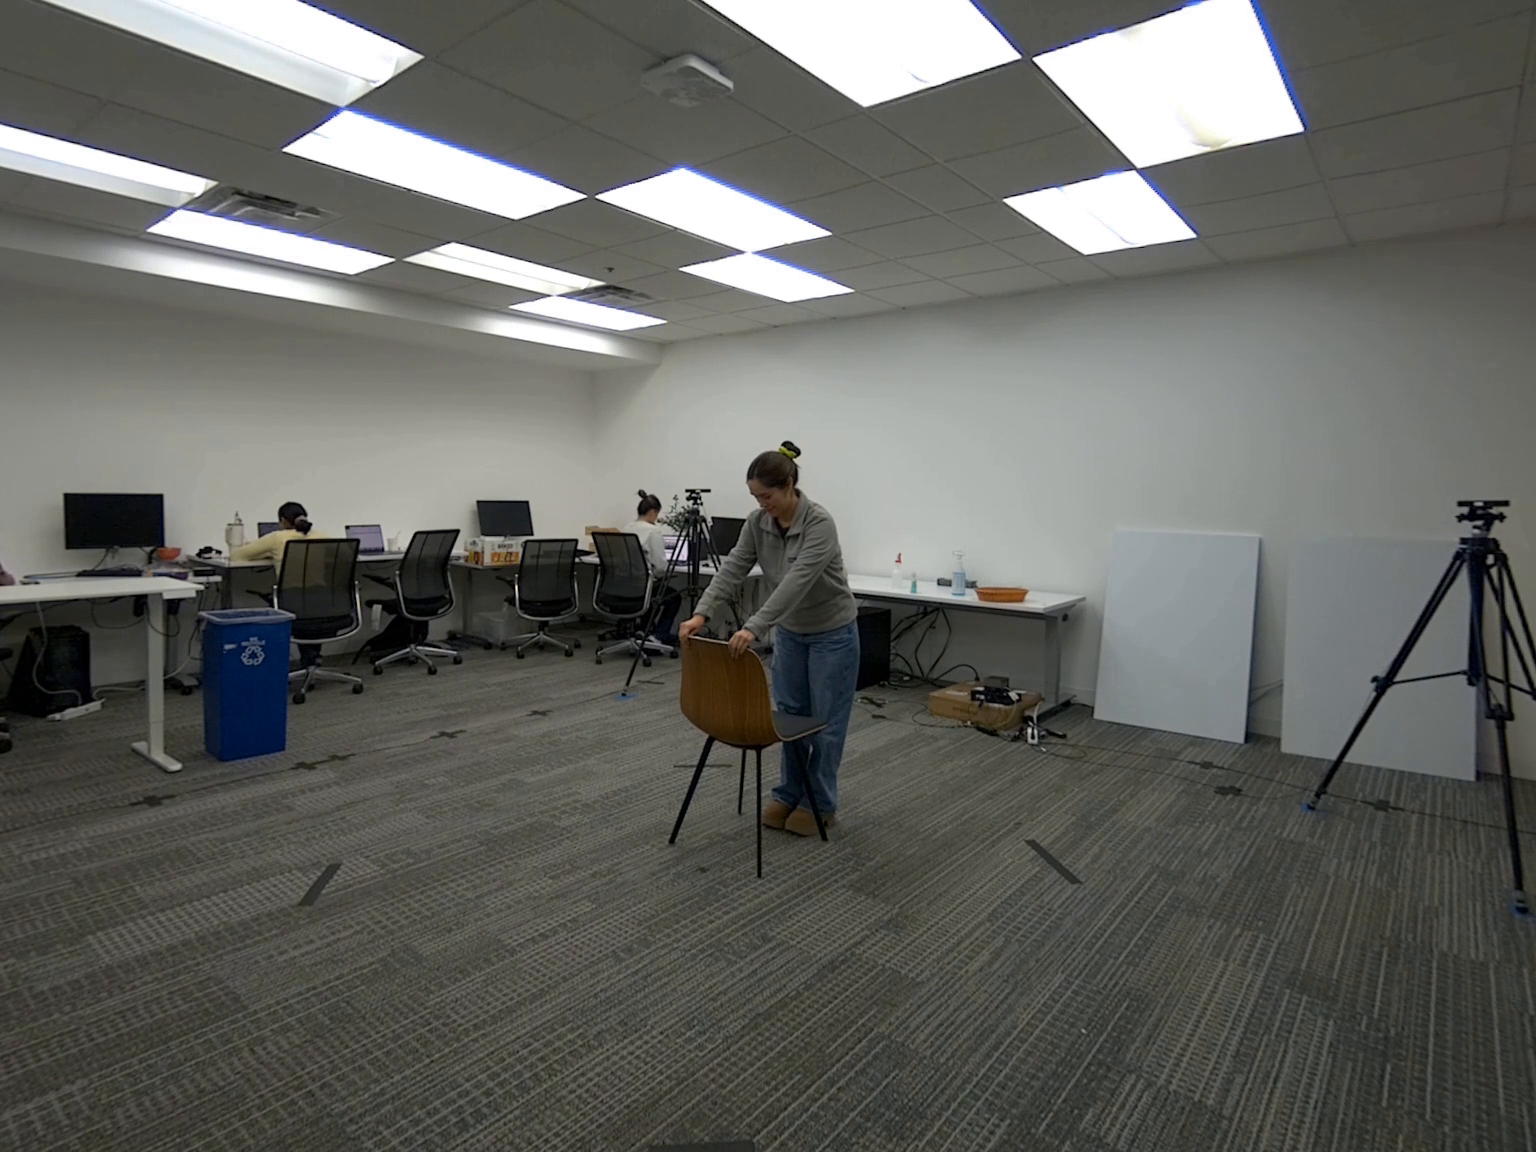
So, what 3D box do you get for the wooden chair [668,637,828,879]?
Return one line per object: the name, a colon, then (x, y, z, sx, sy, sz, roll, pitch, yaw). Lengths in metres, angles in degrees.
wooden chair: (-0.077, 0.627, 3.343, 0.494, 0.872, 0.509, 4, 8, 38)
